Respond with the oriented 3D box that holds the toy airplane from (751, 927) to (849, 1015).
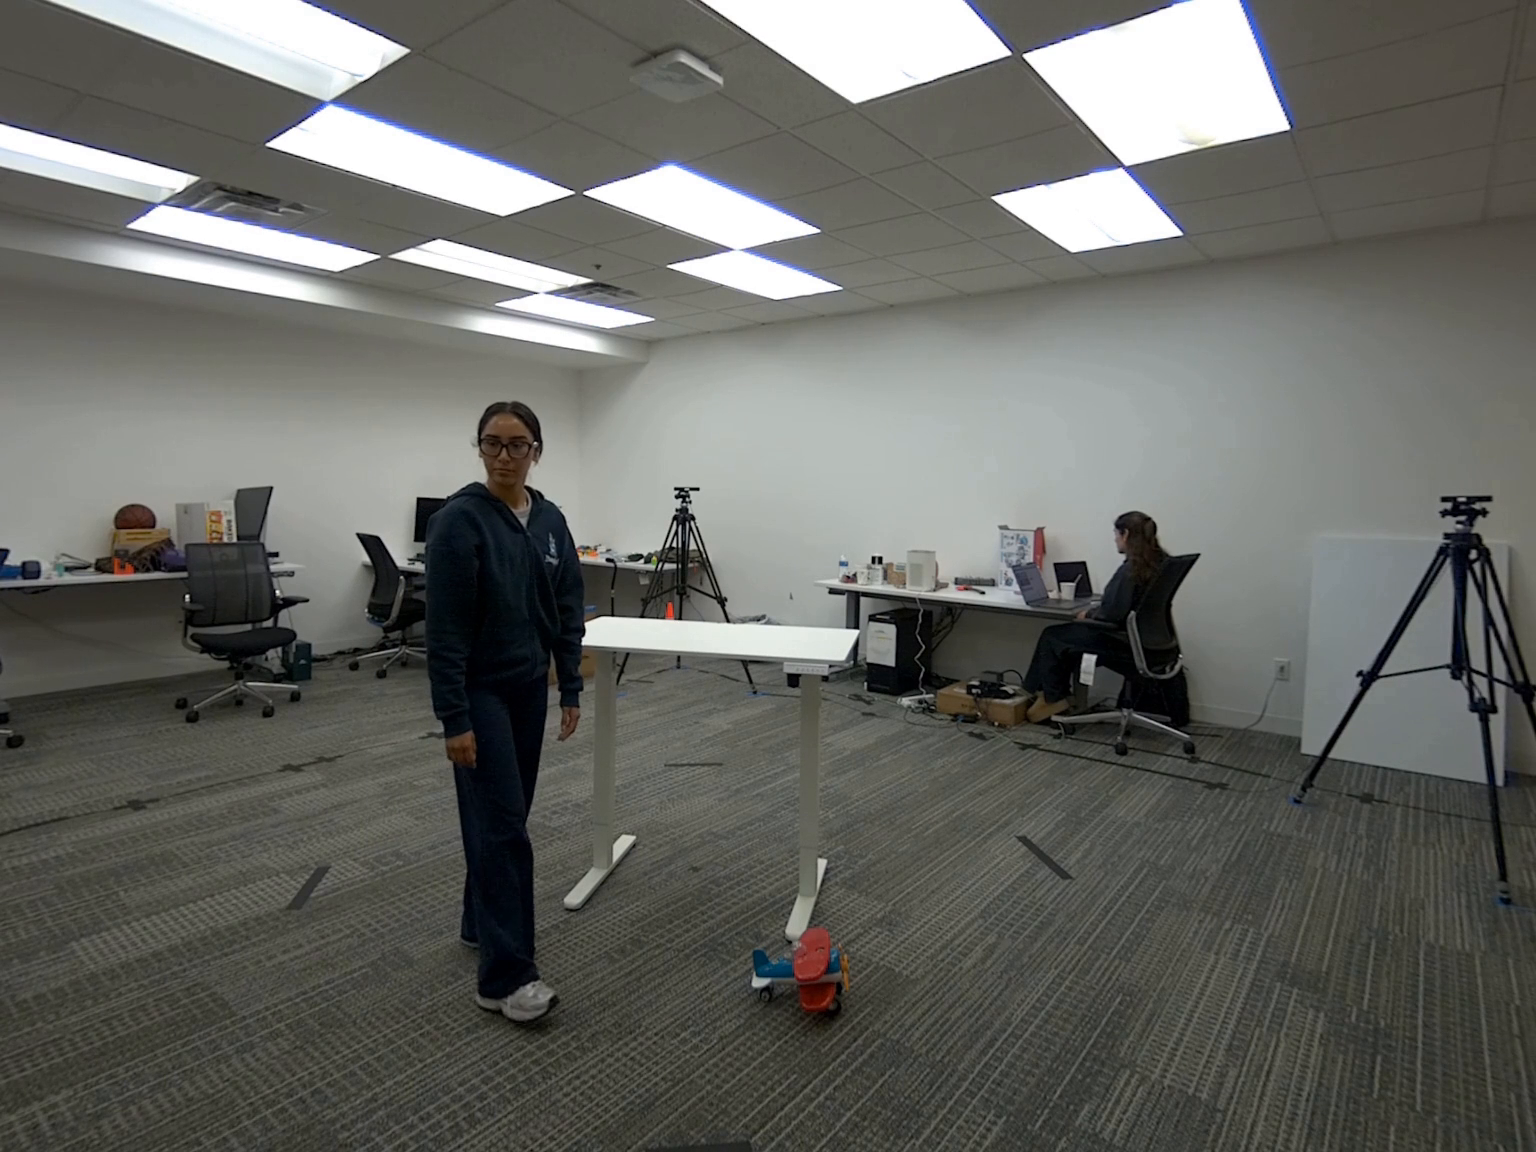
[{"bbox_3d":[0.098,1.081,2.293,0.254,0.156,0.257,1,5,-20],"label":"toy airplane"}]
